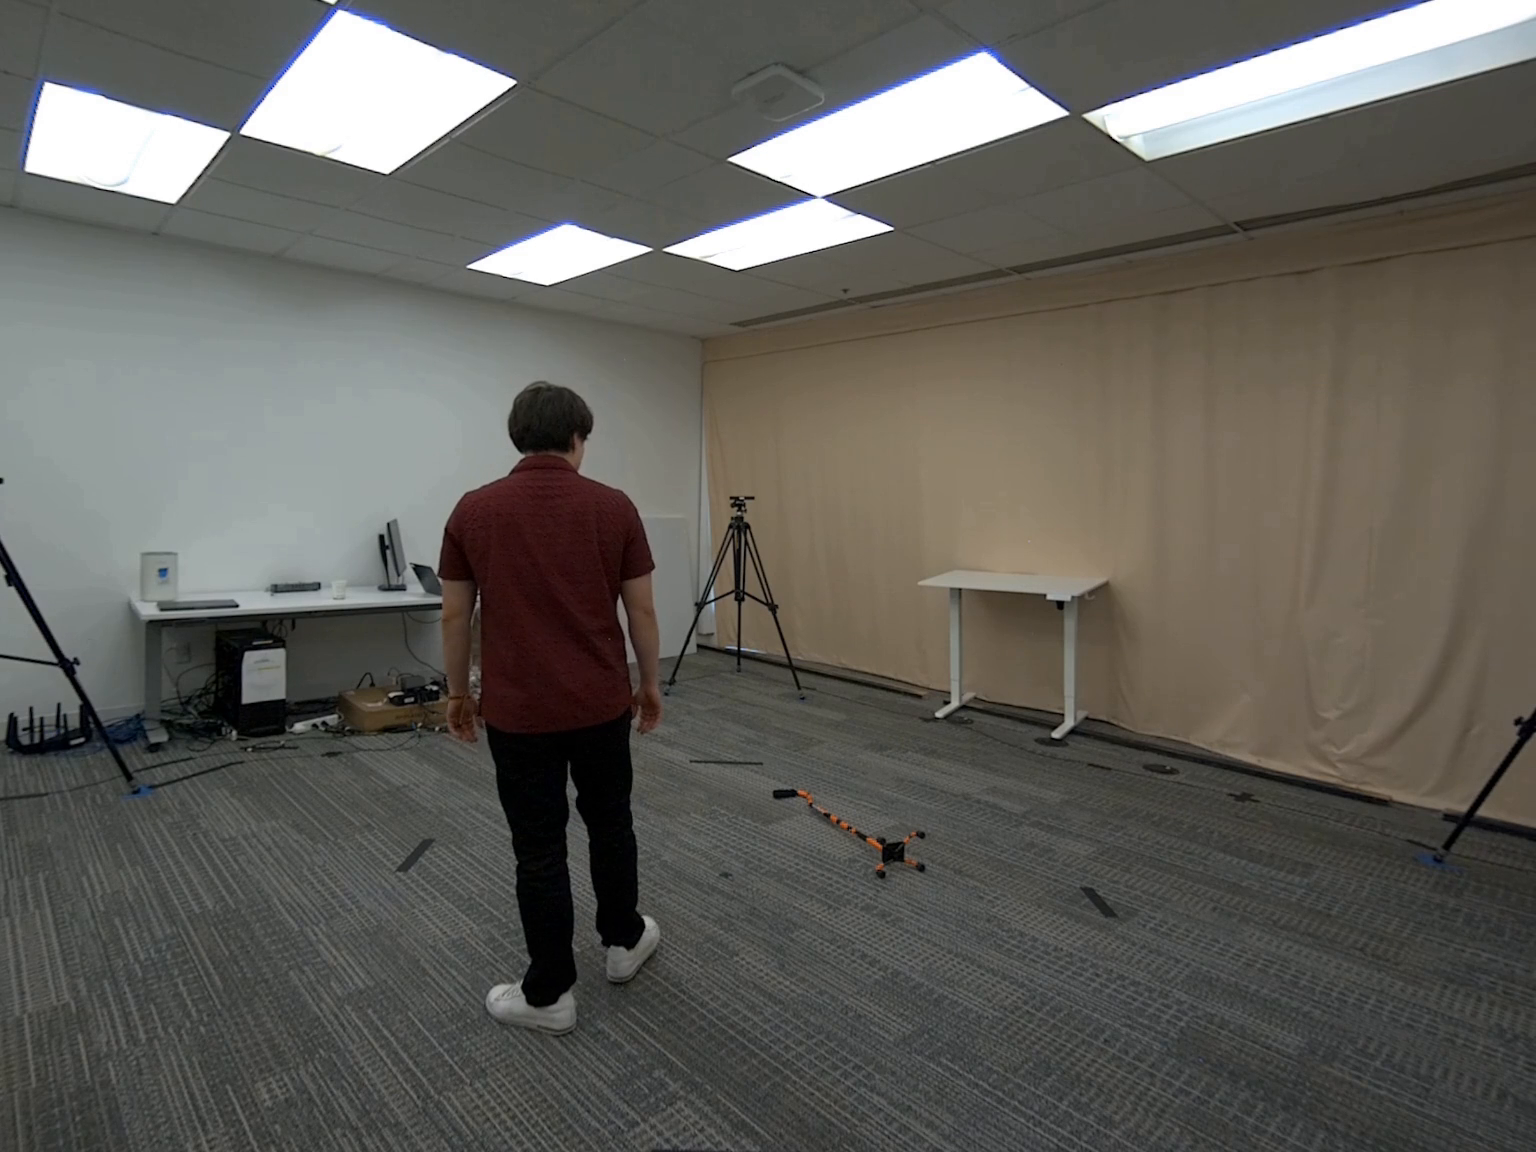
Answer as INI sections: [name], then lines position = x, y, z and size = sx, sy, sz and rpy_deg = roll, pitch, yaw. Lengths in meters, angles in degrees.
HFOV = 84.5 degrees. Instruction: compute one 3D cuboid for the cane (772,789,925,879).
[cane]
position = 0.297, 1.019, 3.554
size = 0.202, 0.151, 0.925
rpy_deg = 2, 1, -25
